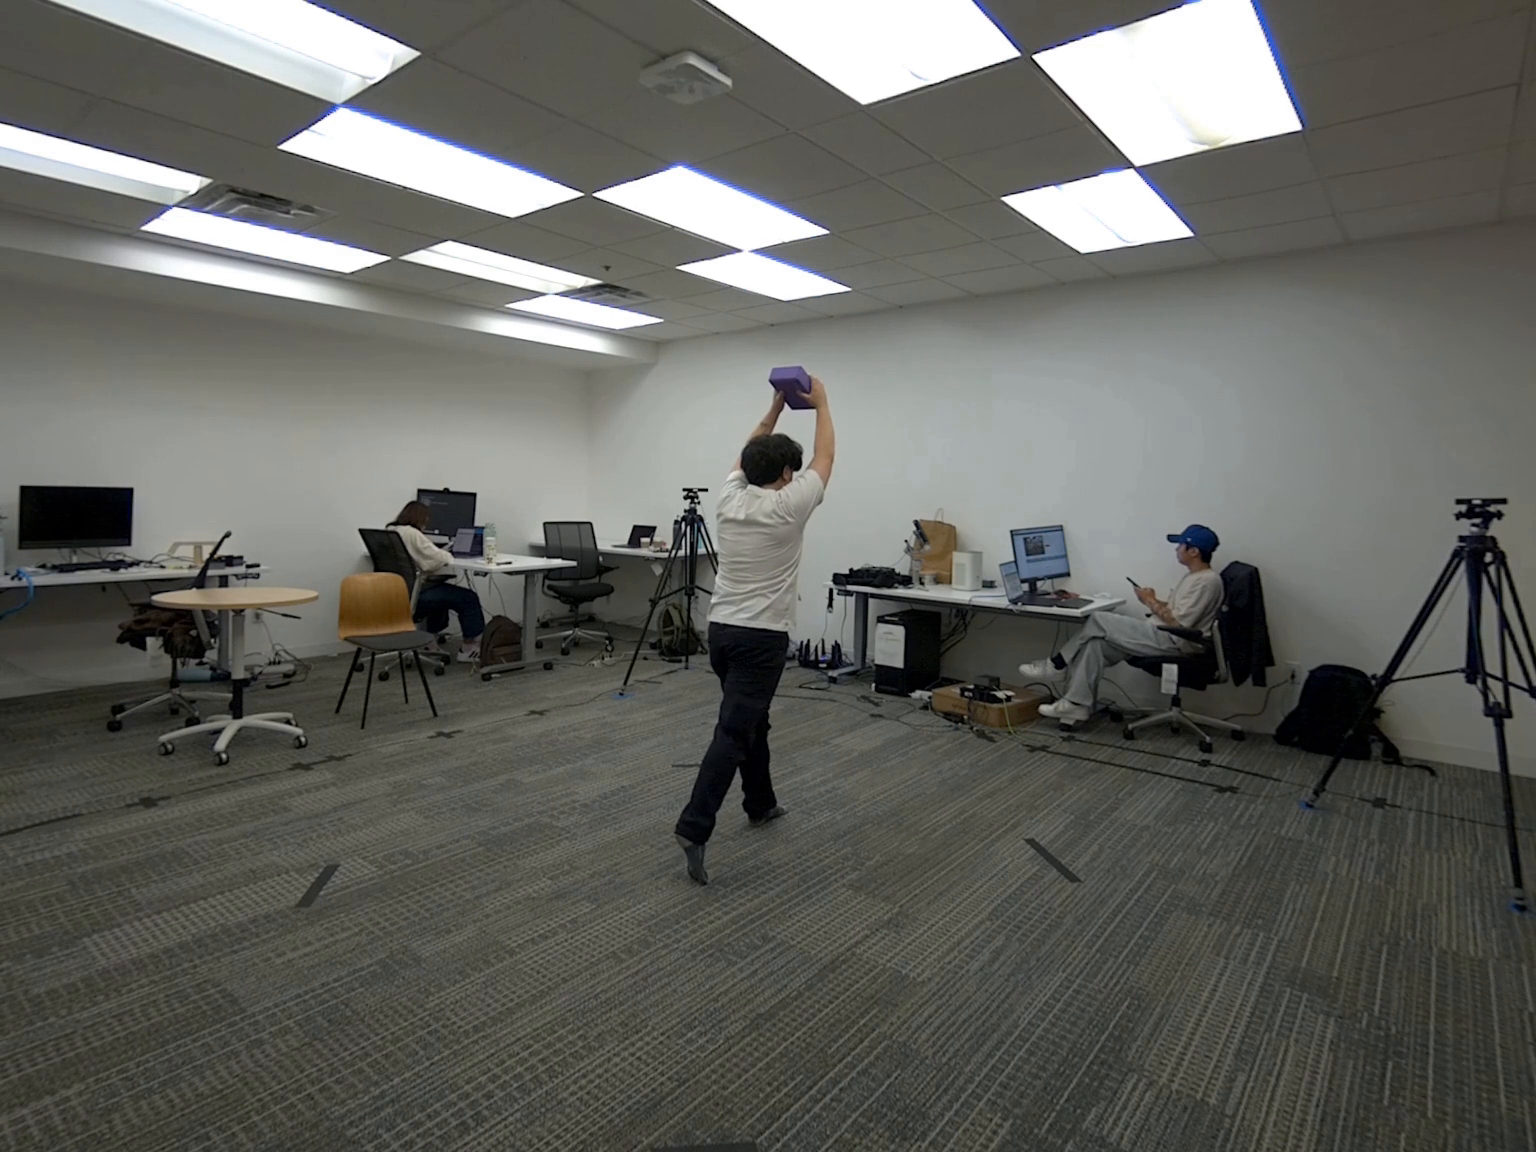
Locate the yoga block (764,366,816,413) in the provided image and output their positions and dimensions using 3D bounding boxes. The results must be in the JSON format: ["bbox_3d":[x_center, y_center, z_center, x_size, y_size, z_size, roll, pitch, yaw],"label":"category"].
[{"bbox_3d":[0.109,-0.800,3.618,0.154,0.077,0.220,5,-22,34],"label":"yoga block"}]
